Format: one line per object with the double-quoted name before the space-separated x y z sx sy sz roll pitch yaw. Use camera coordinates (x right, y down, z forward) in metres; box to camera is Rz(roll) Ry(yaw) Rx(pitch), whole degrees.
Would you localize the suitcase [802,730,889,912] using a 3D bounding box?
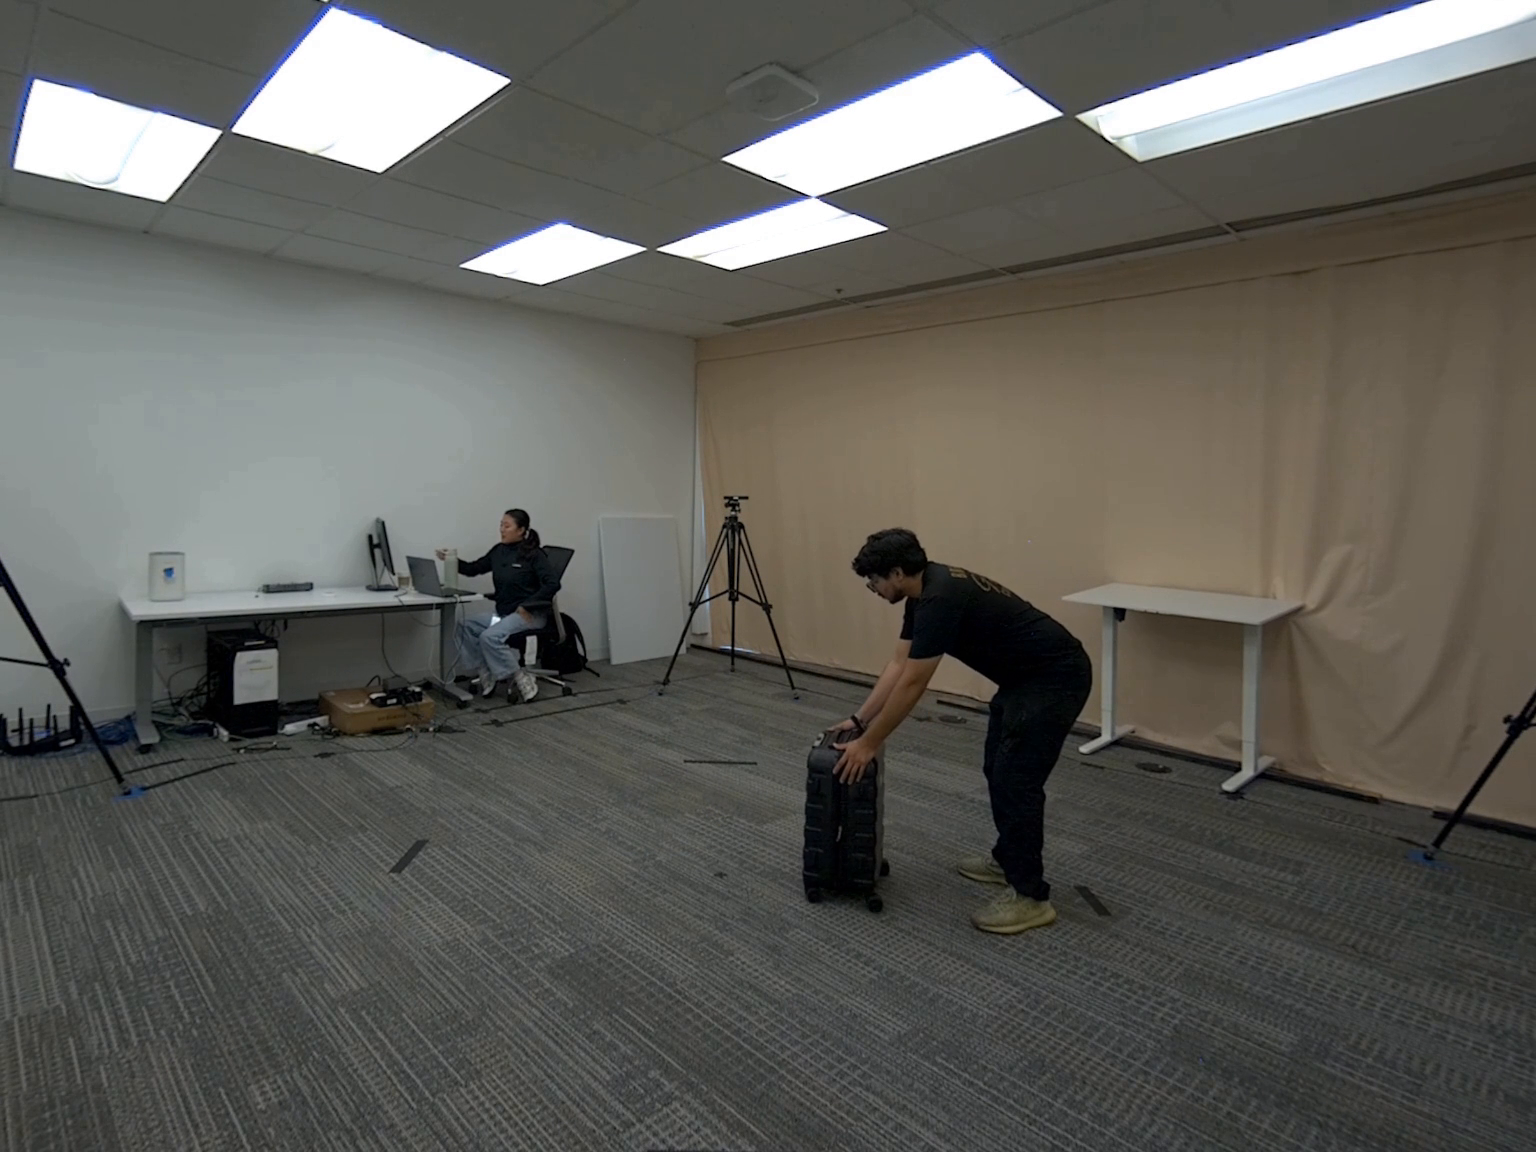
"suitcase" 0.278 0.840 3.020 0.251 0.548 0.372 1 4 13
